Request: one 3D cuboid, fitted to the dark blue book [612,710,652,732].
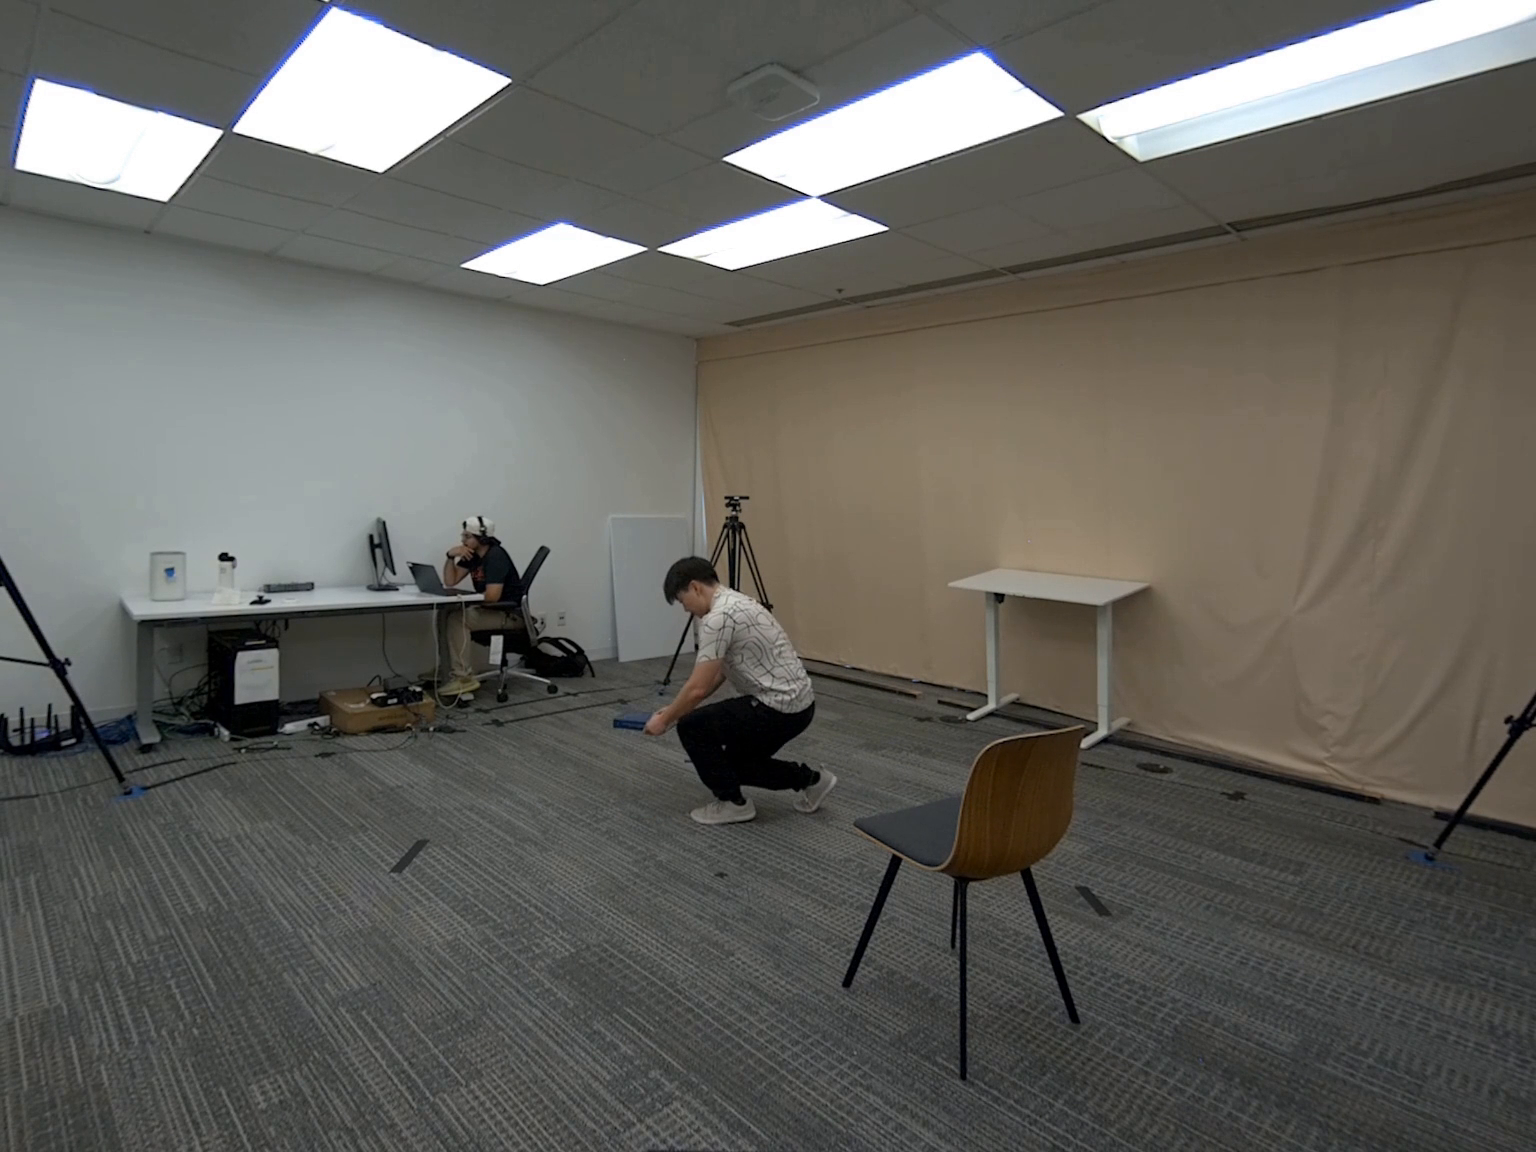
[{"bbox_3d":[-0.540,0.640,3.715,0.248,0.045,0.162,3,5,14],"label":"dark blue book"}]
